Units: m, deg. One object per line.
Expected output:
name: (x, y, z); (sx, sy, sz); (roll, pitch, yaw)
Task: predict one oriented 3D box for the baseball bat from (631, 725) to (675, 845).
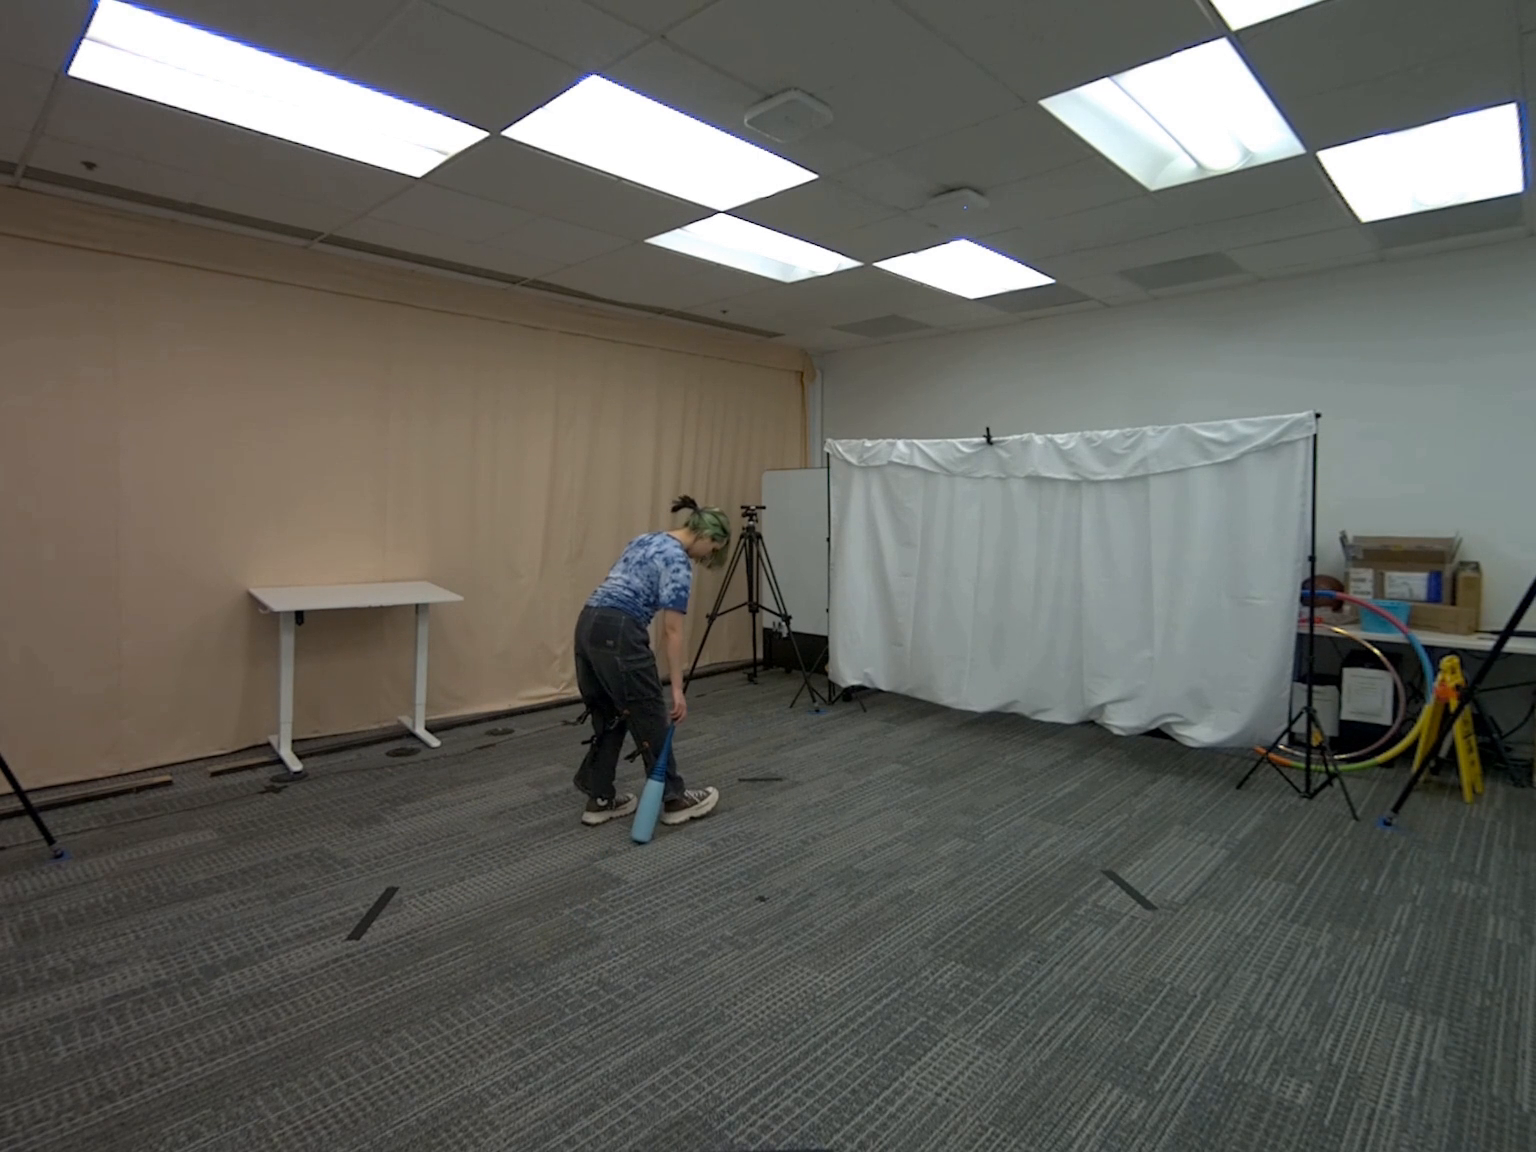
baseball bat: (-0.462, 0.841, 3.546); (0.089, 0.545, 0.088); (15, -11, 1)
